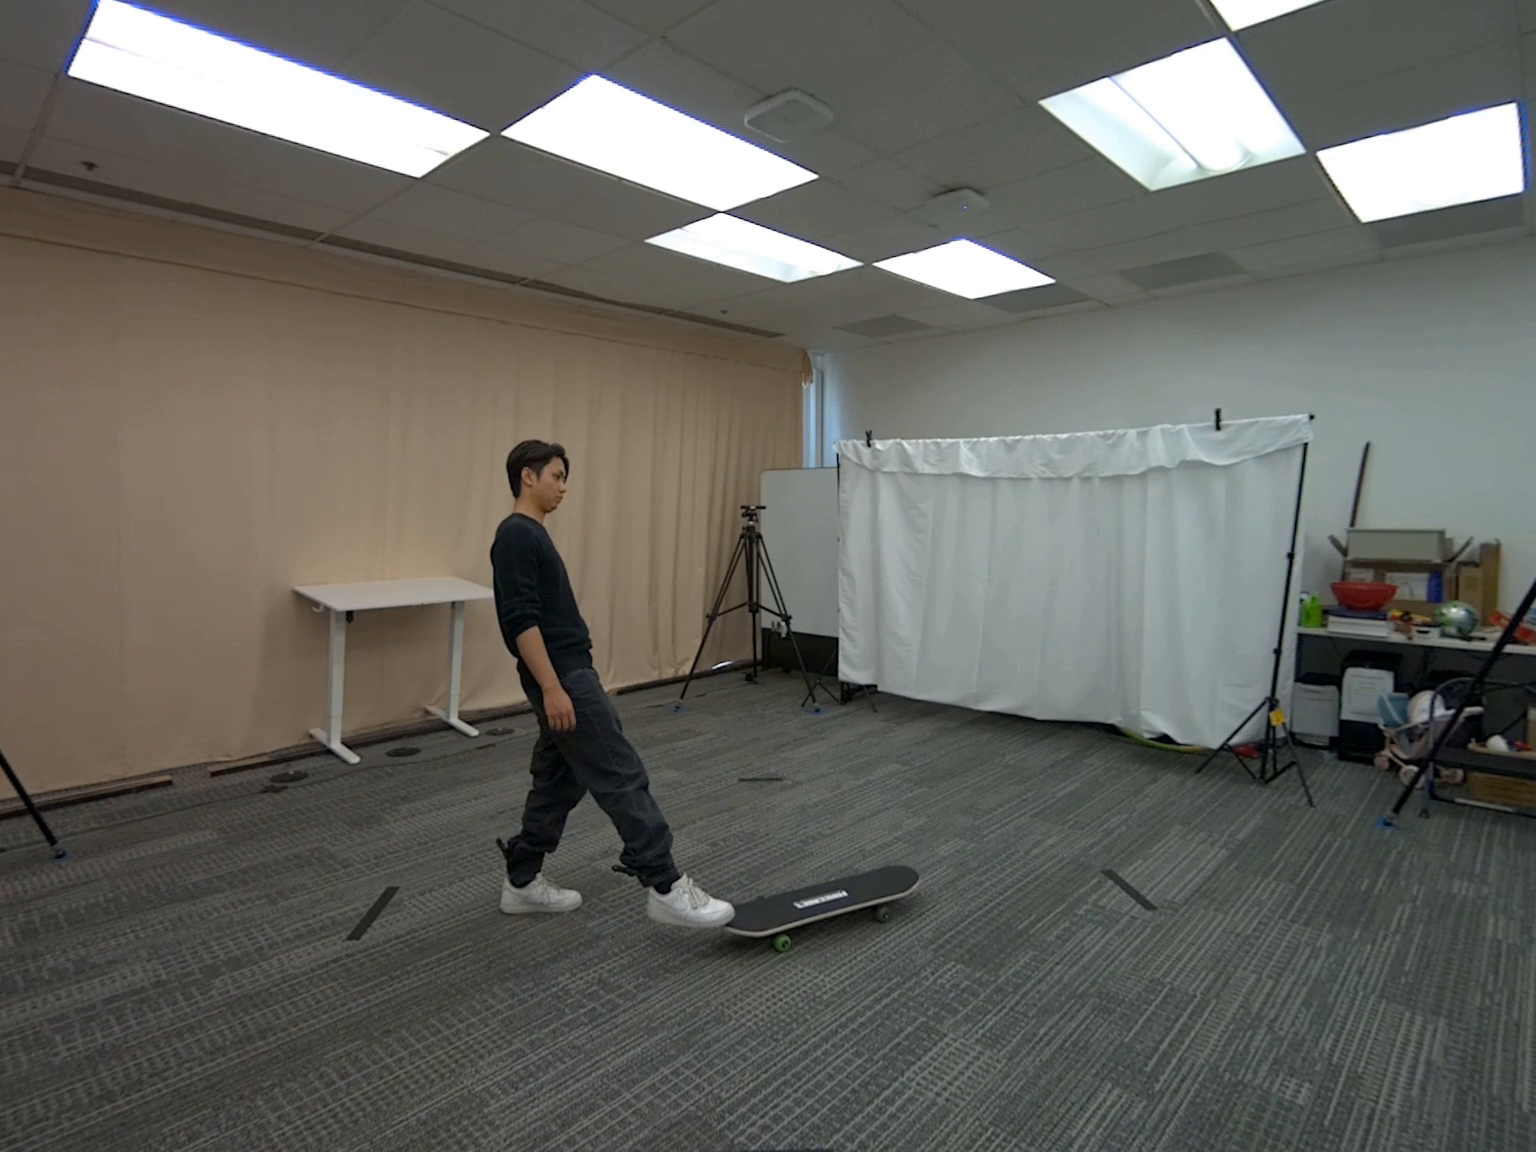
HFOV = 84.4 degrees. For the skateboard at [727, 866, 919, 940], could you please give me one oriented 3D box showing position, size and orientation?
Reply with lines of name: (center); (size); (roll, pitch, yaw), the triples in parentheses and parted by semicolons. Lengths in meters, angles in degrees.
skateboard: (0.180, 1.109, 2.786); (0.765, 0.110, 0.199); (-2, 6, -28)
